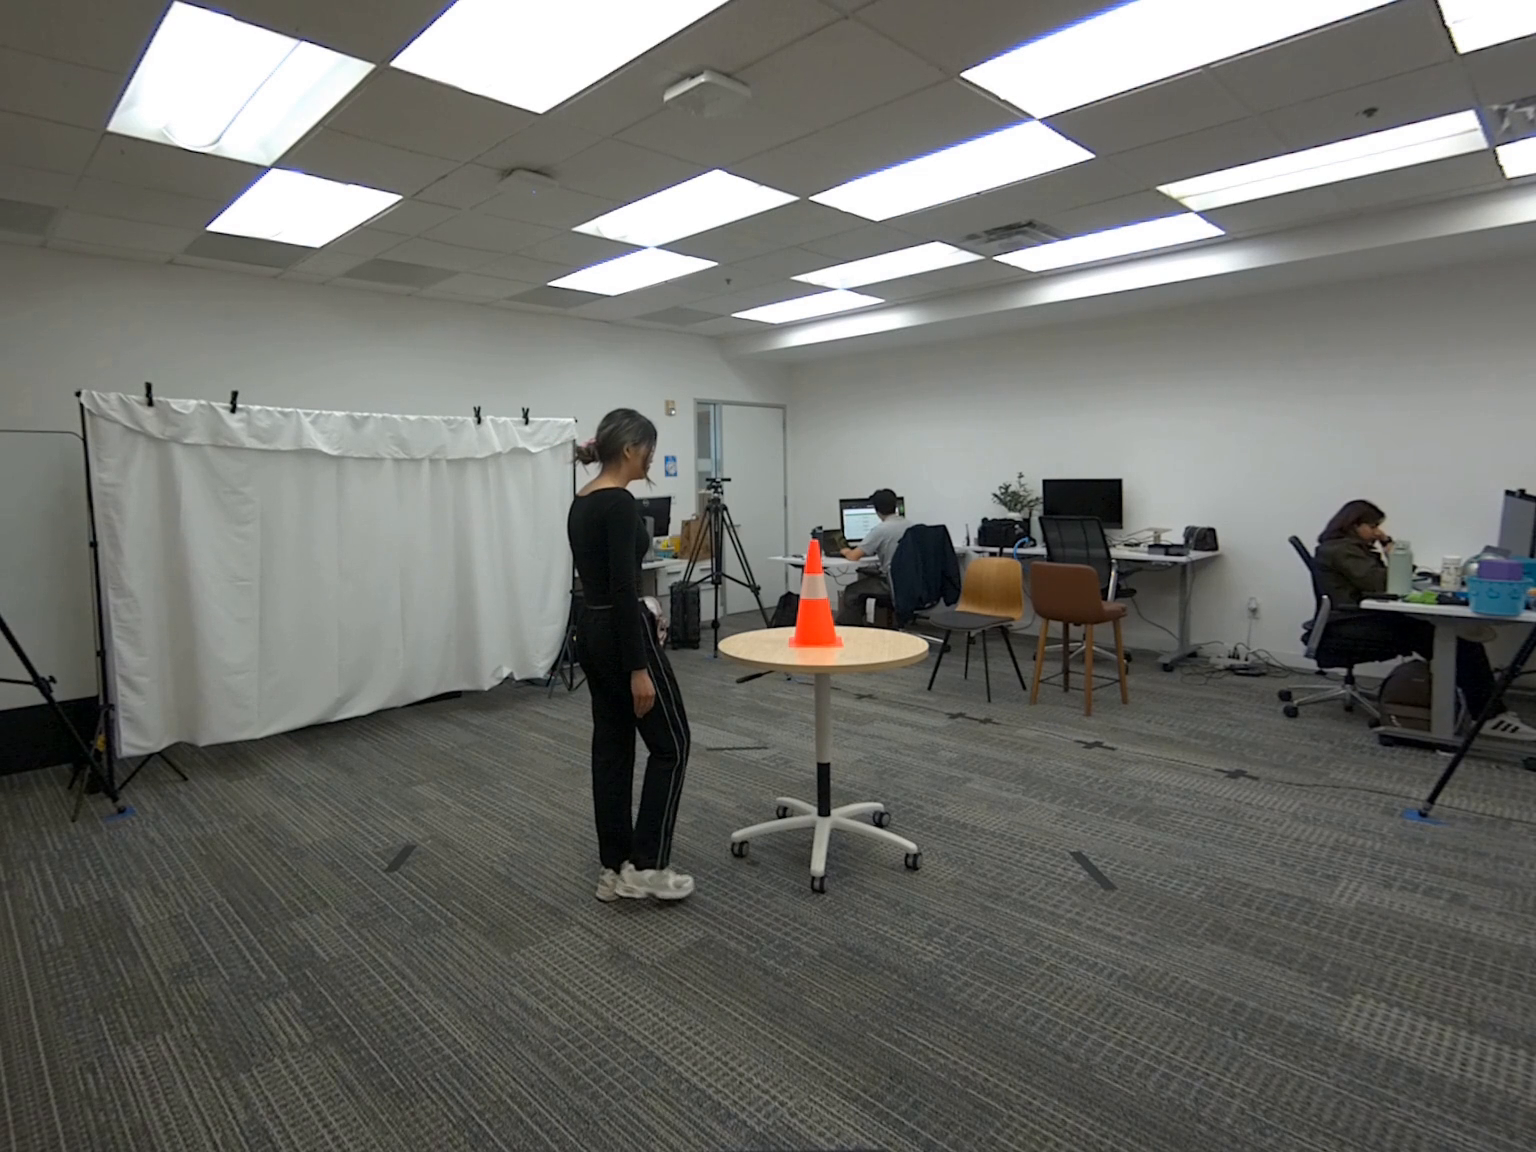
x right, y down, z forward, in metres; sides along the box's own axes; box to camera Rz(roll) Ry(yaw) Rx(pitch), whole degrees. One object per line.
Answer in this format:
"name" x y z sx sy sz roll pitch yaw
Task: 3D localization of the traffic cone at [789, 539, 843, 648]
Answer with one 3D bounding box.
"traffic cone" 0.174 0.058 3.172 0.204 0.383 0.204 -1 2 4
